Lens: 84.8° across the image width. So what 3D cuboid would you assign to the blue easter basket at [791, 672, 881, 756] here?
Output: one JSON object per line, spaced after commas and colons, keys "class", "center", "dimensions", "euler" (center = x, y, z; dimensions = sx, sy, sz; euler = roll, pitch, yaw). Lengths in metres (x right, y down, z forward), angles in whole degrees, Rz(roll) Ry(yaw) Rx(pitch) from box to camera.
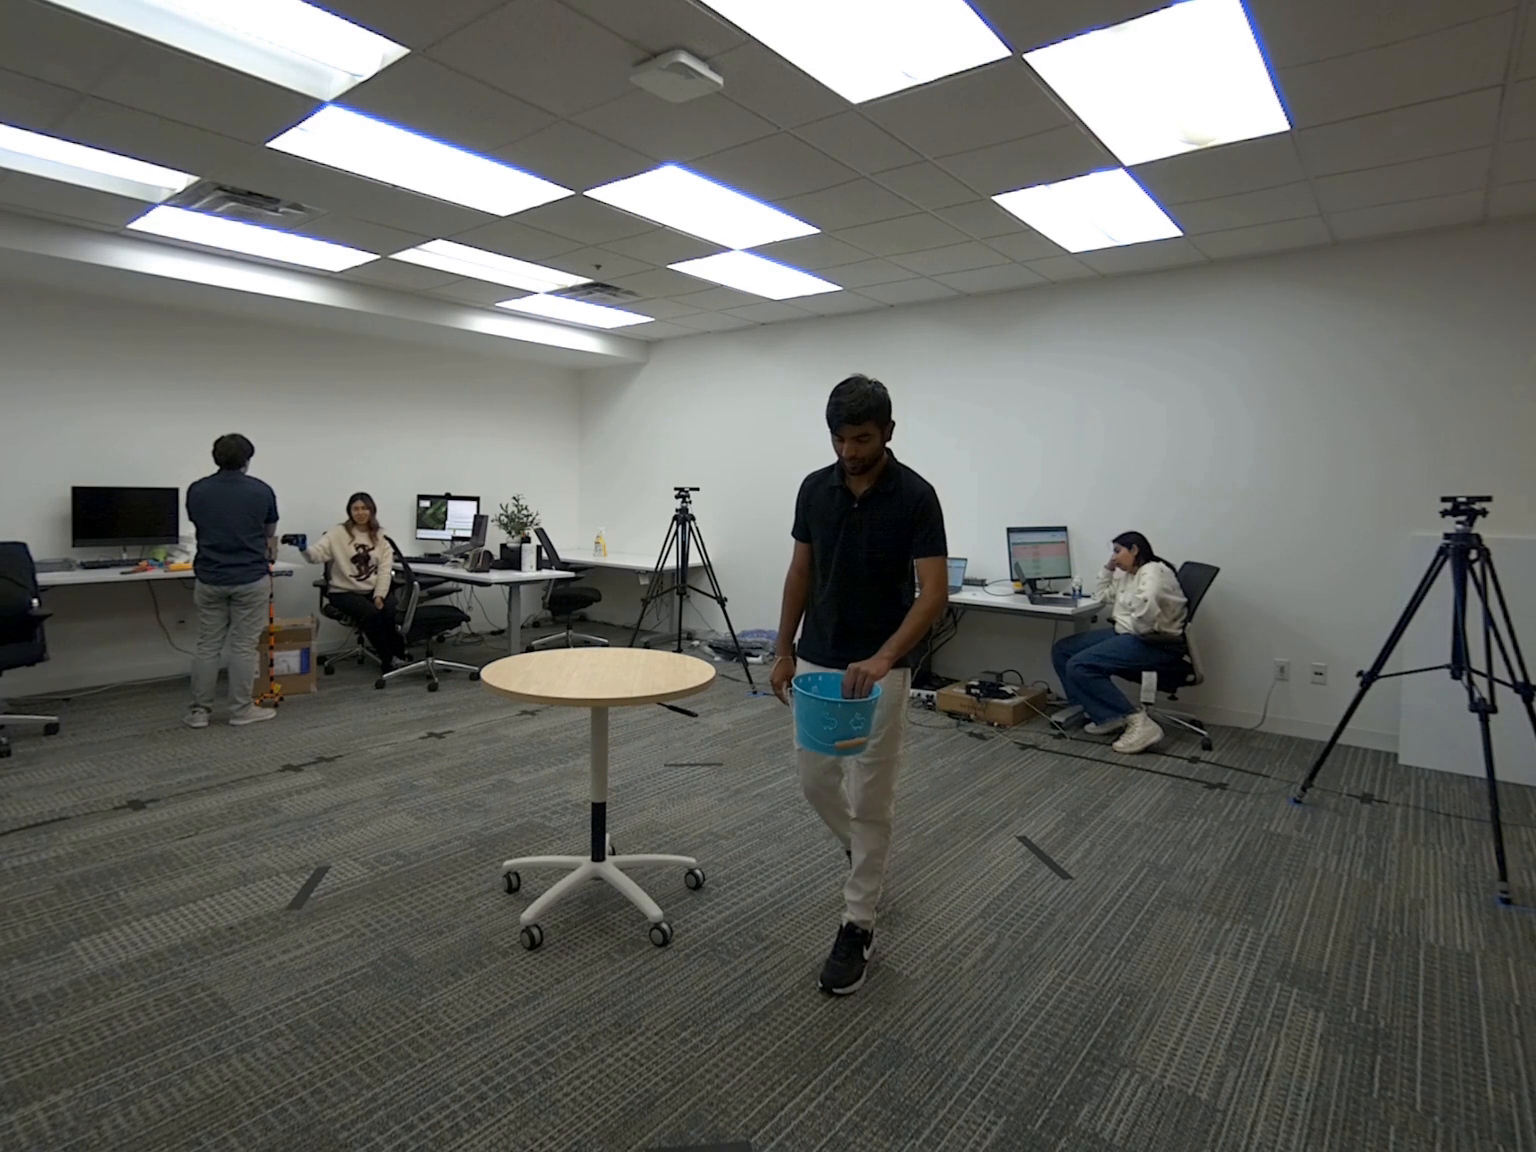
{"class": "blue easter basket", "center": [0.159, 0.349, 2.177], "dimensions": [0.243, 0.155, 0.246], "euler": [3, 9, -2]}
